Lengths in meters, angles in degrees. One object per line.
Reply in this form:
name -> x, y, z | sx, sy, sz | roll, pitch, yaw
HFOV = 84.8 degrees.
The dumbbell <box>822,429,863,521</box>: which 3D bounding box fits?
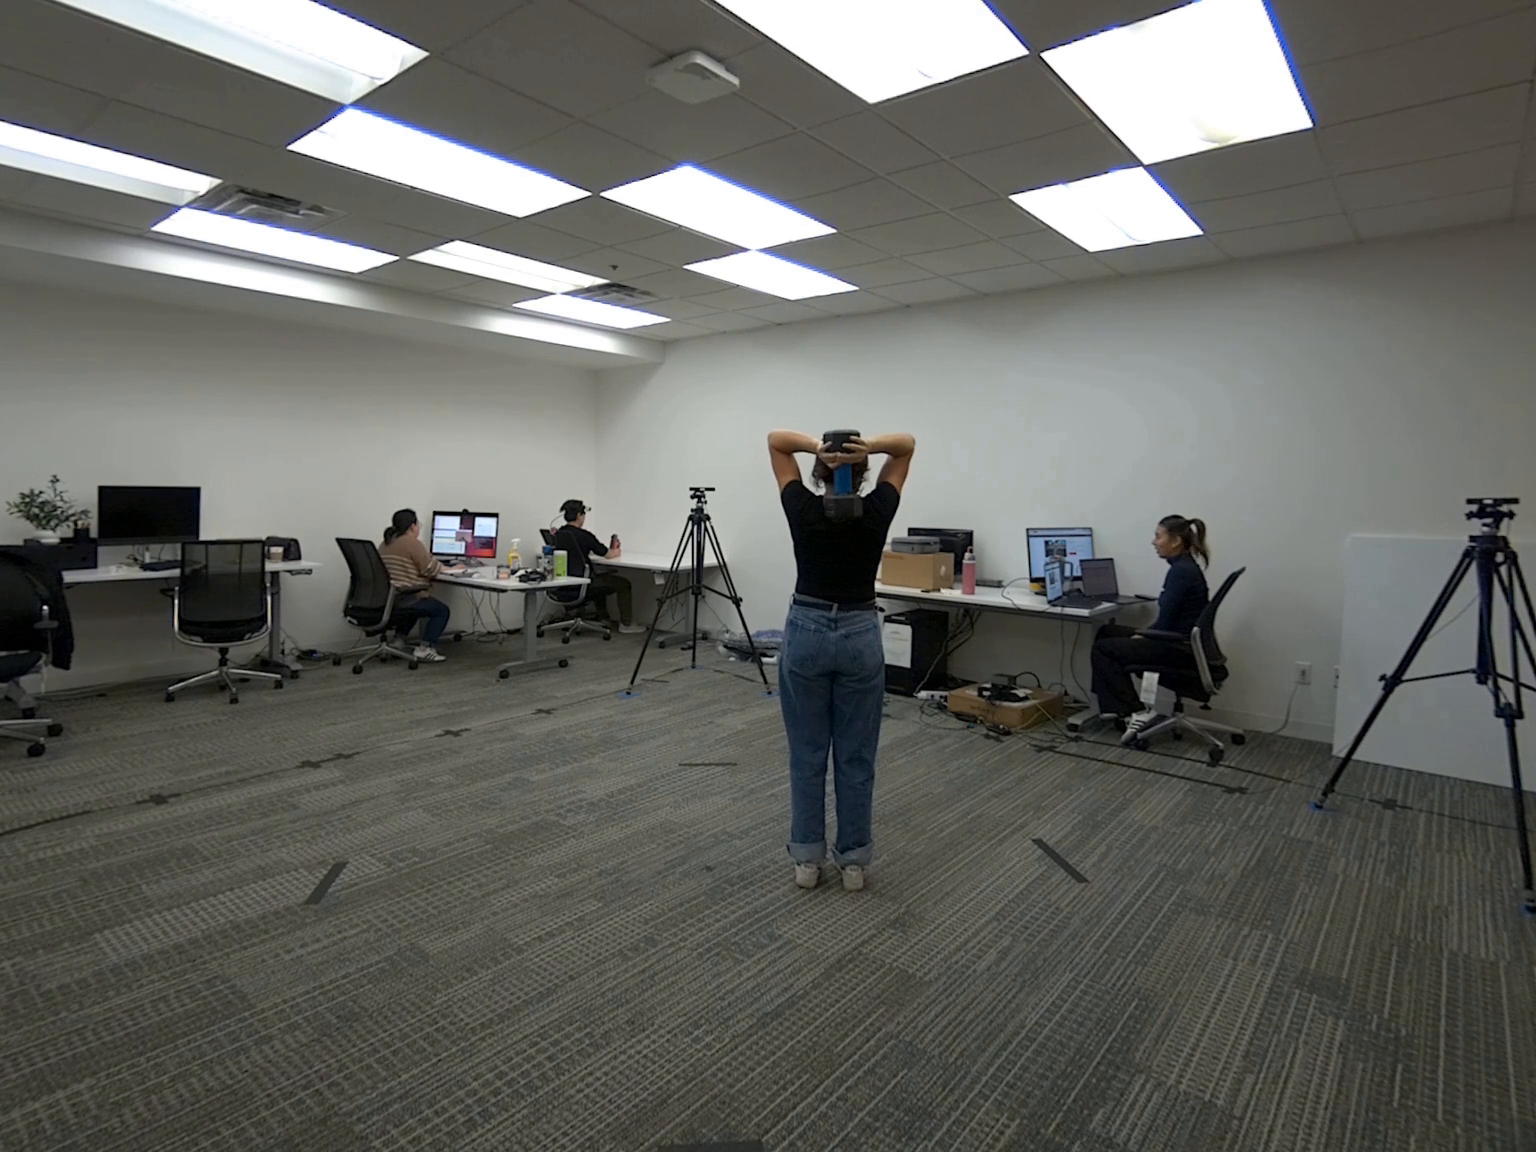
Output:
dumbbell -> 0.246, -0.341, 2.818 | 0.112, 0.292, 0.120 | 0, 6, 35
